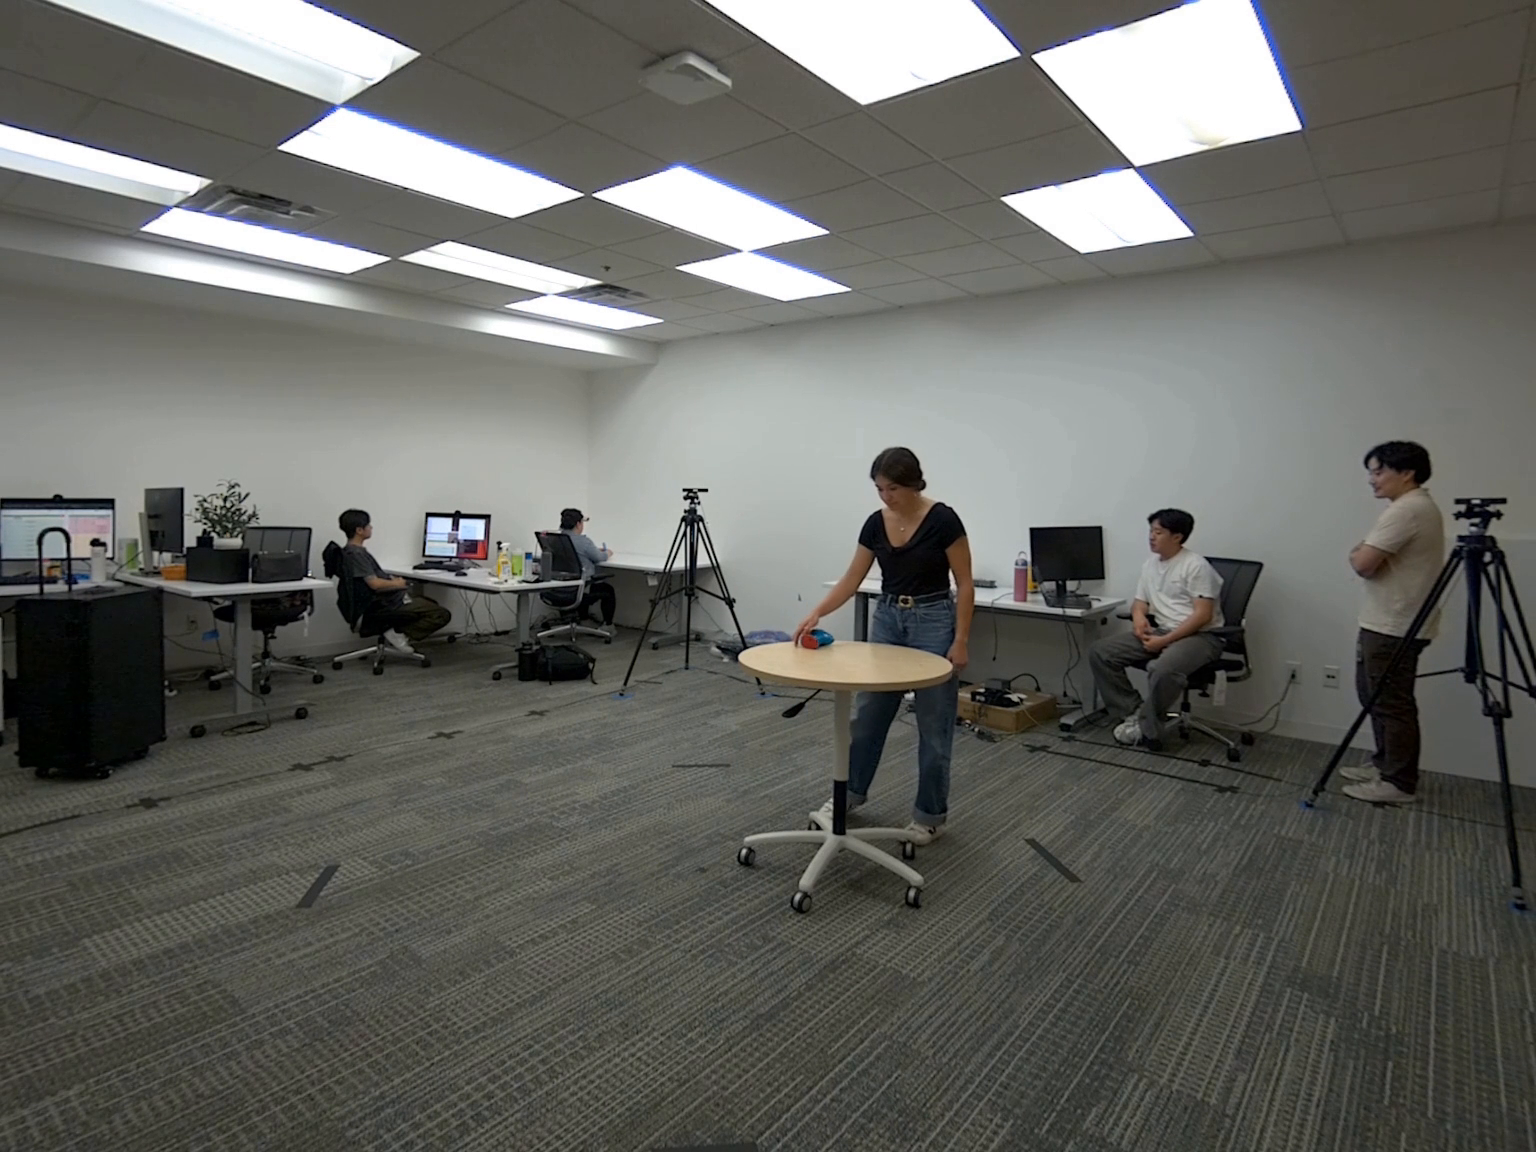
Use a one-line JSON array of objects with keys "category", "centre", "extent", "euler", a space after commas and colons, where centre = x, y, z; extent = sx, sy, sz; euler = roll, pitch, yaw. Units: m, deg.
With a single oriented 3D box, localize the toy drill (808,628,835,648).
[{"category": "toy drill", "centre": [0.165, 0.240, 3.359], "extent": [0.176, 0.061, 0.142], "euler": [14, 12, 35]}]
